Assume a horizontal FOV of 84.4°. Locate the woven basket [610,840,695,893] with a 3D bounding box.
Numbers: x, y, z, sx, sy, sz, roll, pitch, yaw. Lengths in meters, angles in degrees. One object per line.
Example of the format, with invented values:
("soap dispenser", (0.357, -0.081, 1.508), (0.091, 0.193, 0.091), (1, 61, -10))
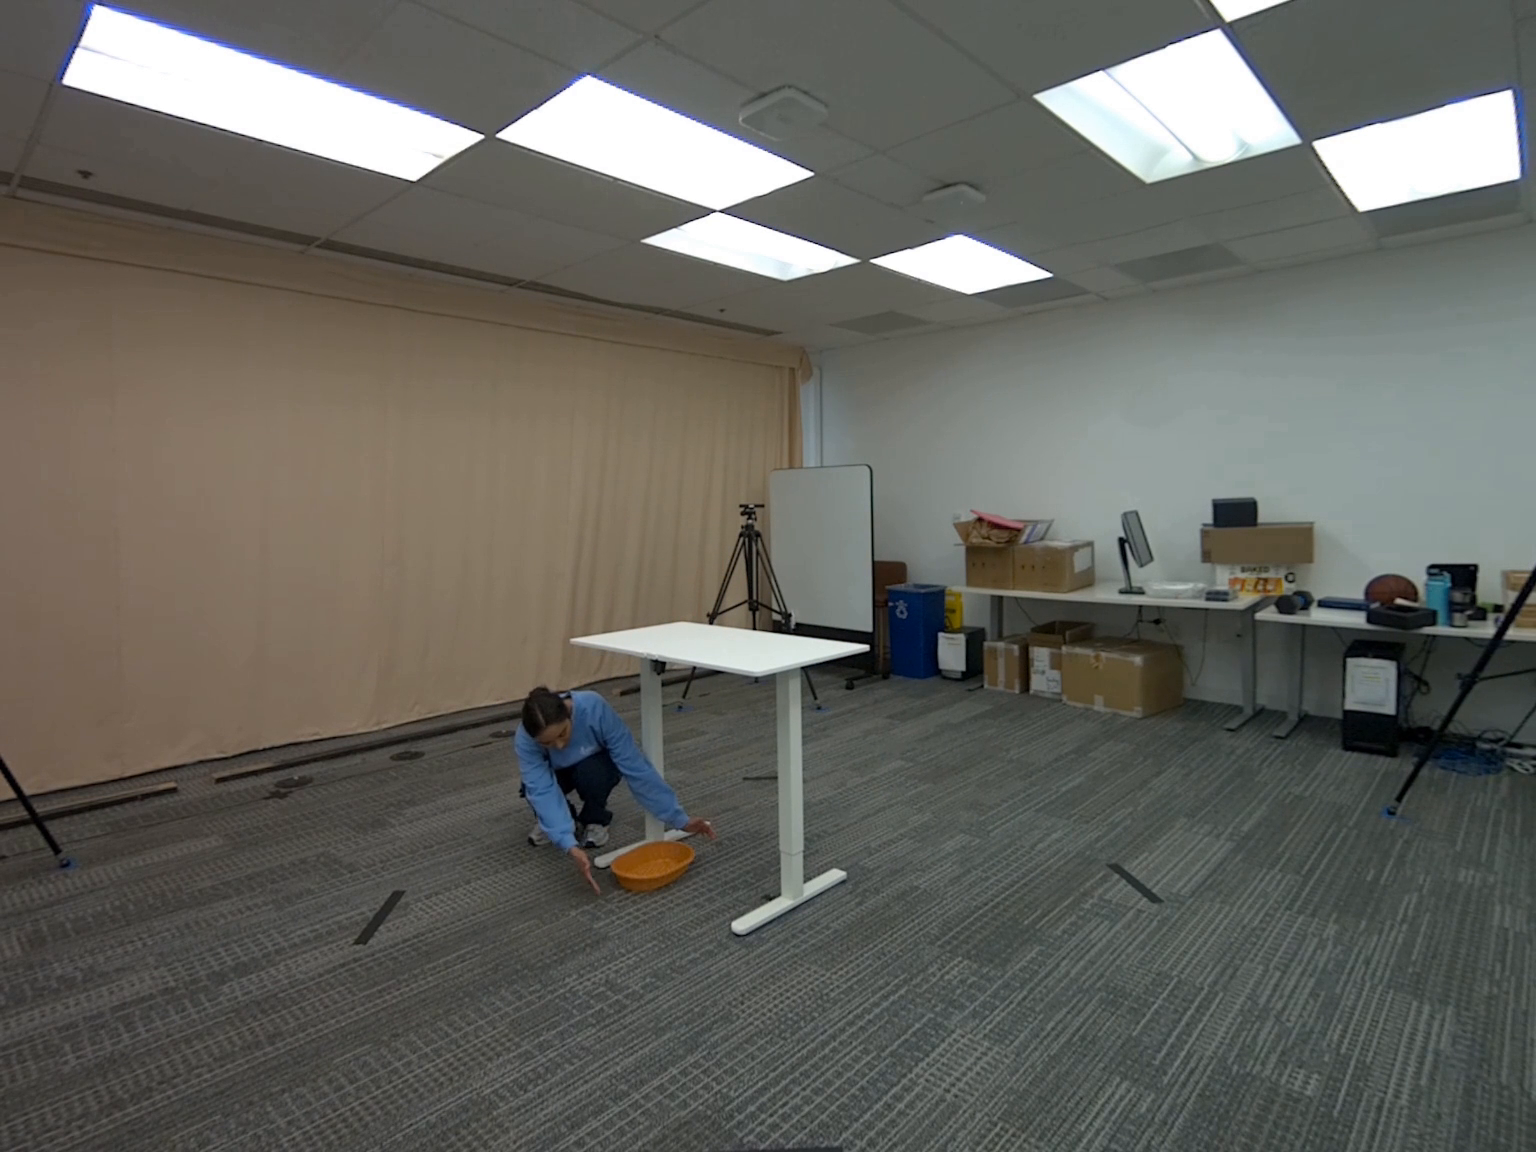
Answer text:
("woven basket", (-0.427, 1.083, 3.170), (0.261, 0.073, 0.340), (5, 8, 42))
